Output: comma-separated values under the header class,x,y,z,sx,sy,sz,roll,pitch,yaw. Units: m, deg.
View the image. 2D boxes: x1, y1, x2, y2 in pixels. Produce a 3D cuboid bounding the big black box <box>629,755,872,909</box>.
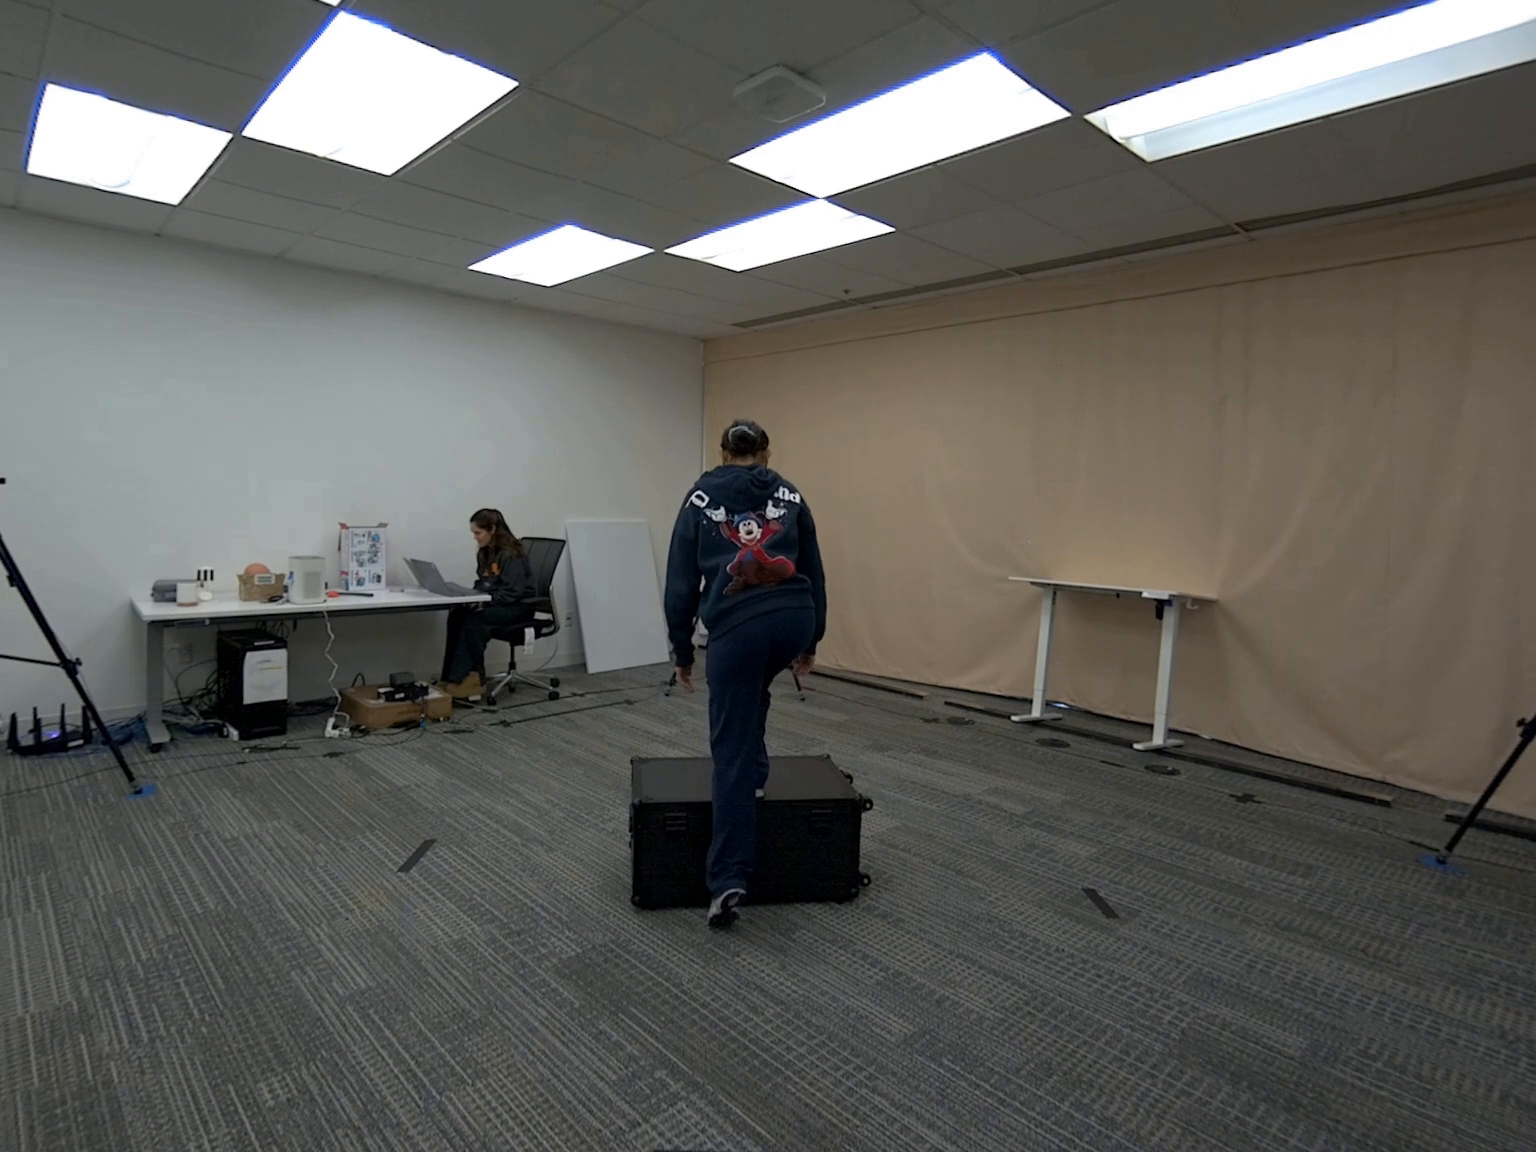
class,x,y,z,sx,sy,sz,roll,pitch,yaw
big black box,-0.077,0.919,3.091,0.855,0.395,0.527,0,5,-9
